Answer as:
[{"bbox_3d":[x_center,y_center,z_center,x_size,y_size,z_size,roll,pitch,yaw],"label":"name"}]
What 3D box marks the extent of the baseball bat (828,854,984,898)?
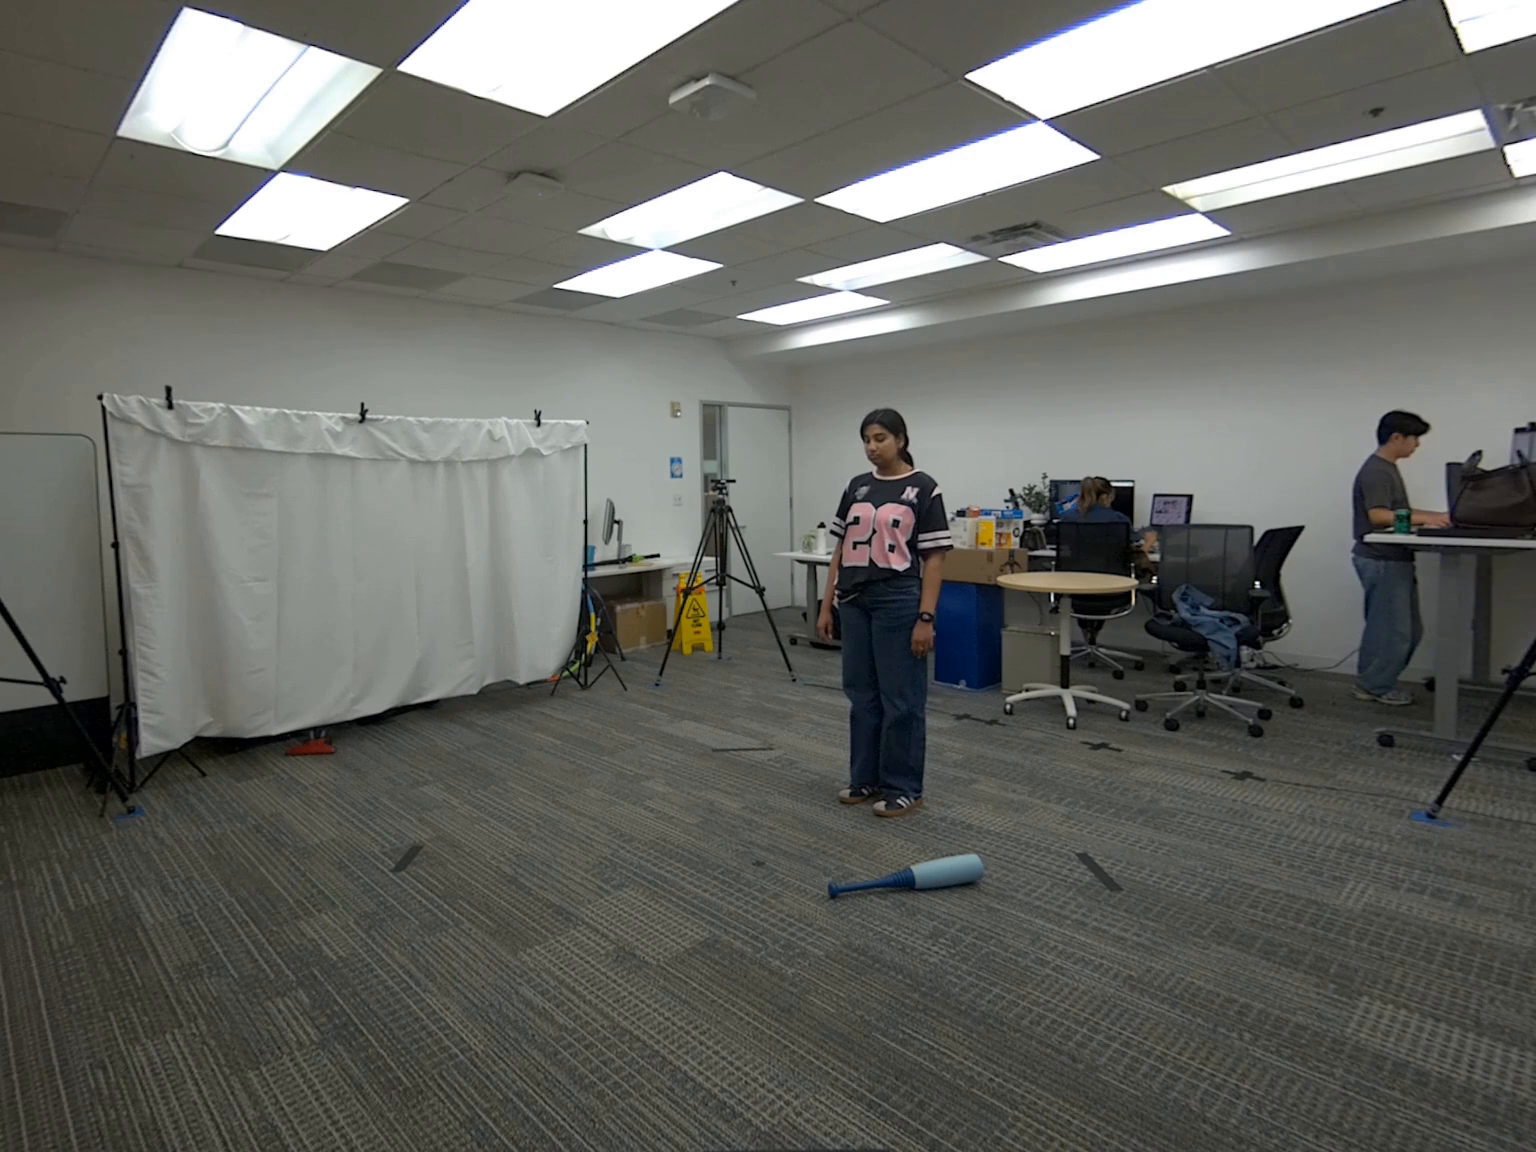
[{"bbox_3d":[0.472,1.027,2.887,0.538,0.088,0.090,-6,6,-11],"label":"baseball bat"}]
